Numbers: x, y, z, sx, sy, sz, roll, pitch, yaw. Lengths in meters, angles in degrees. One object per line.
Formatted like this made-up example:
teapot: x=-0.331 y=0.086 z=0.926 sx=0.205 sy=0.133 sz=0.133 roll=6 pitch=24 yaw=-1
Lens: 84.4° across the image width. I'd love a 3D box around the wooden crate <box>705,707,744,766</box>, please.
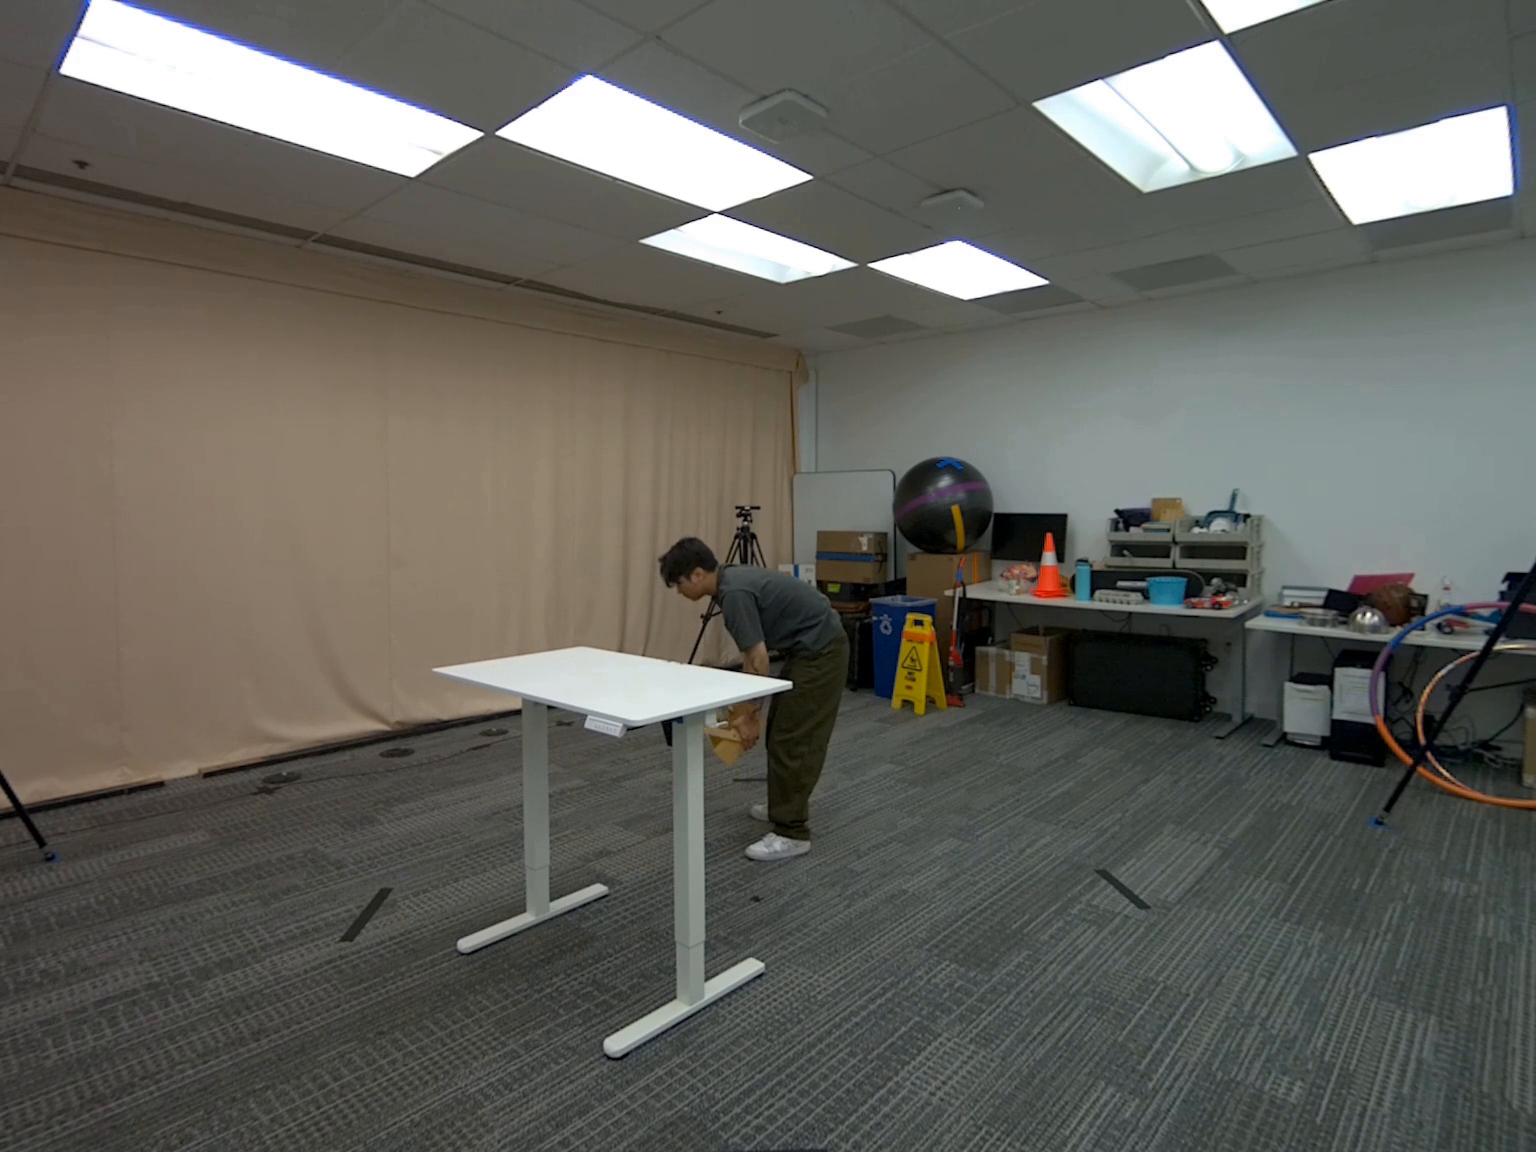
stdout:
wooden crate: x=-0.206 y=0.609 z=3.565 sx=0.272 sy=0.301 sz=0.326 roll=42 pitch=-6 yaw=-4
